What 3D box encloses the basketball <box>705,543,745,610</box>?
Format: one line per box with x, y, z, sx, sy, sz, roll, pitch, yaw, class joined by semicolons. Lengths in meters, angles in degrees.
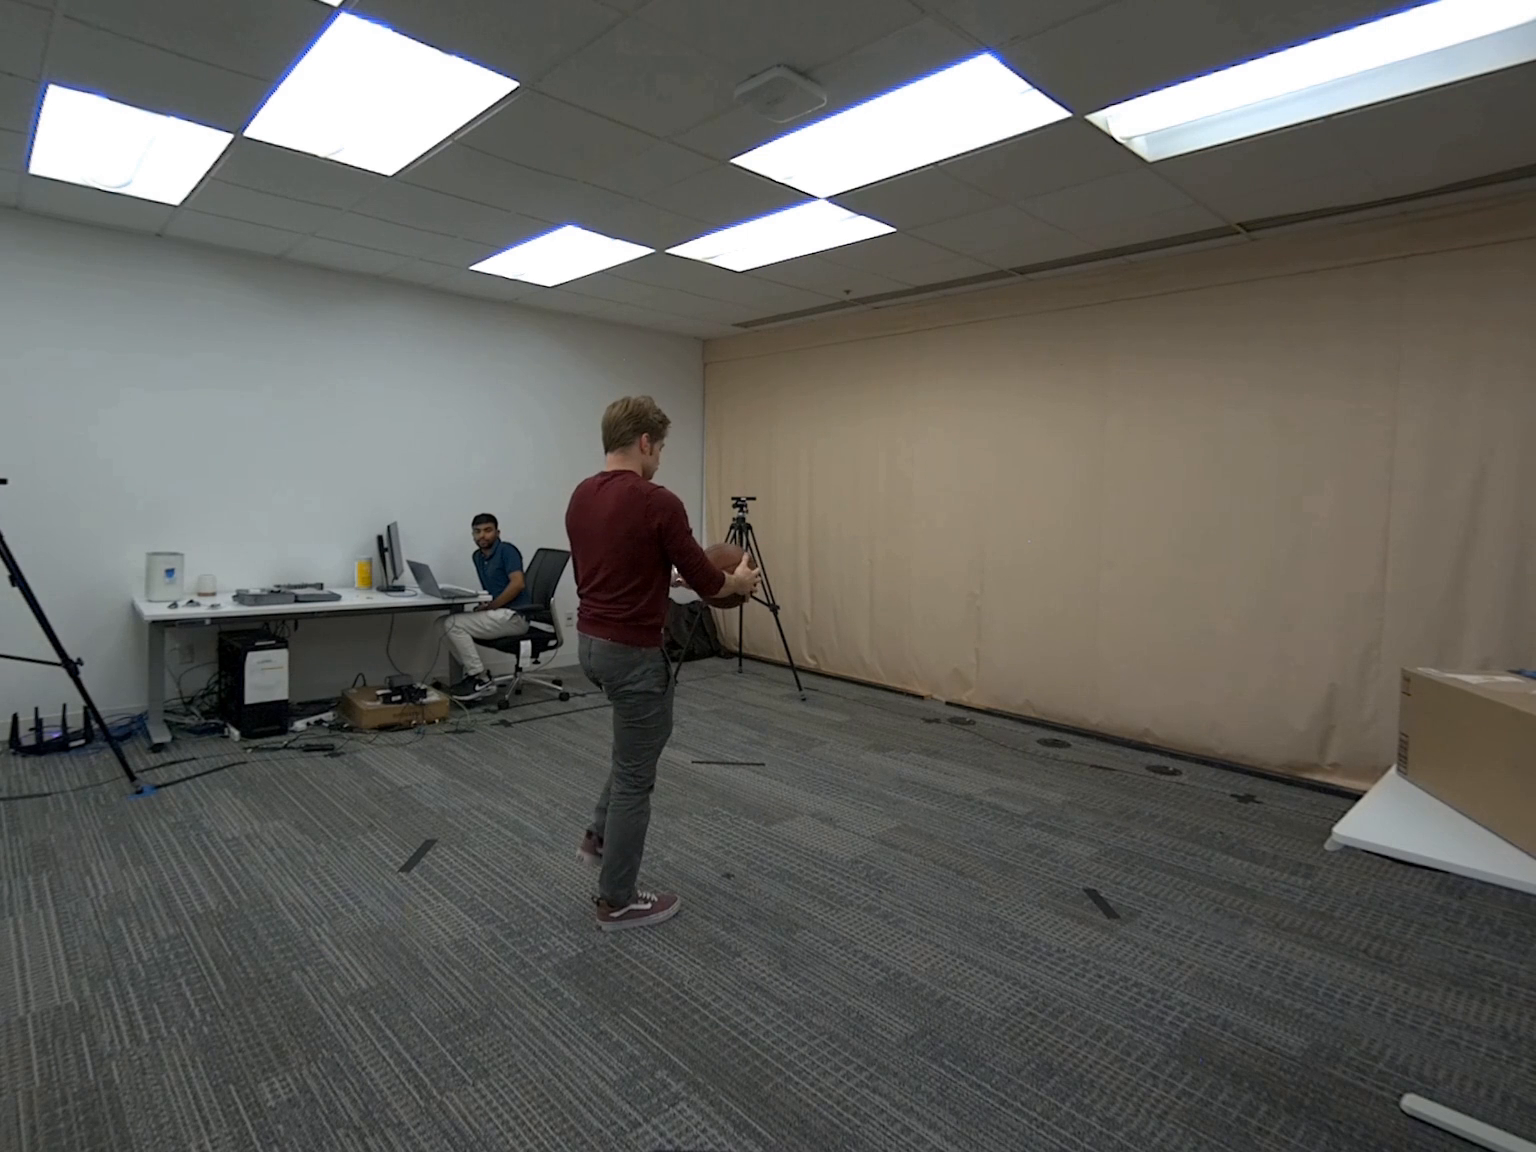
-0.158;0.003;3.041;0.236;0.235;0.237;1;4;-1;basketball
